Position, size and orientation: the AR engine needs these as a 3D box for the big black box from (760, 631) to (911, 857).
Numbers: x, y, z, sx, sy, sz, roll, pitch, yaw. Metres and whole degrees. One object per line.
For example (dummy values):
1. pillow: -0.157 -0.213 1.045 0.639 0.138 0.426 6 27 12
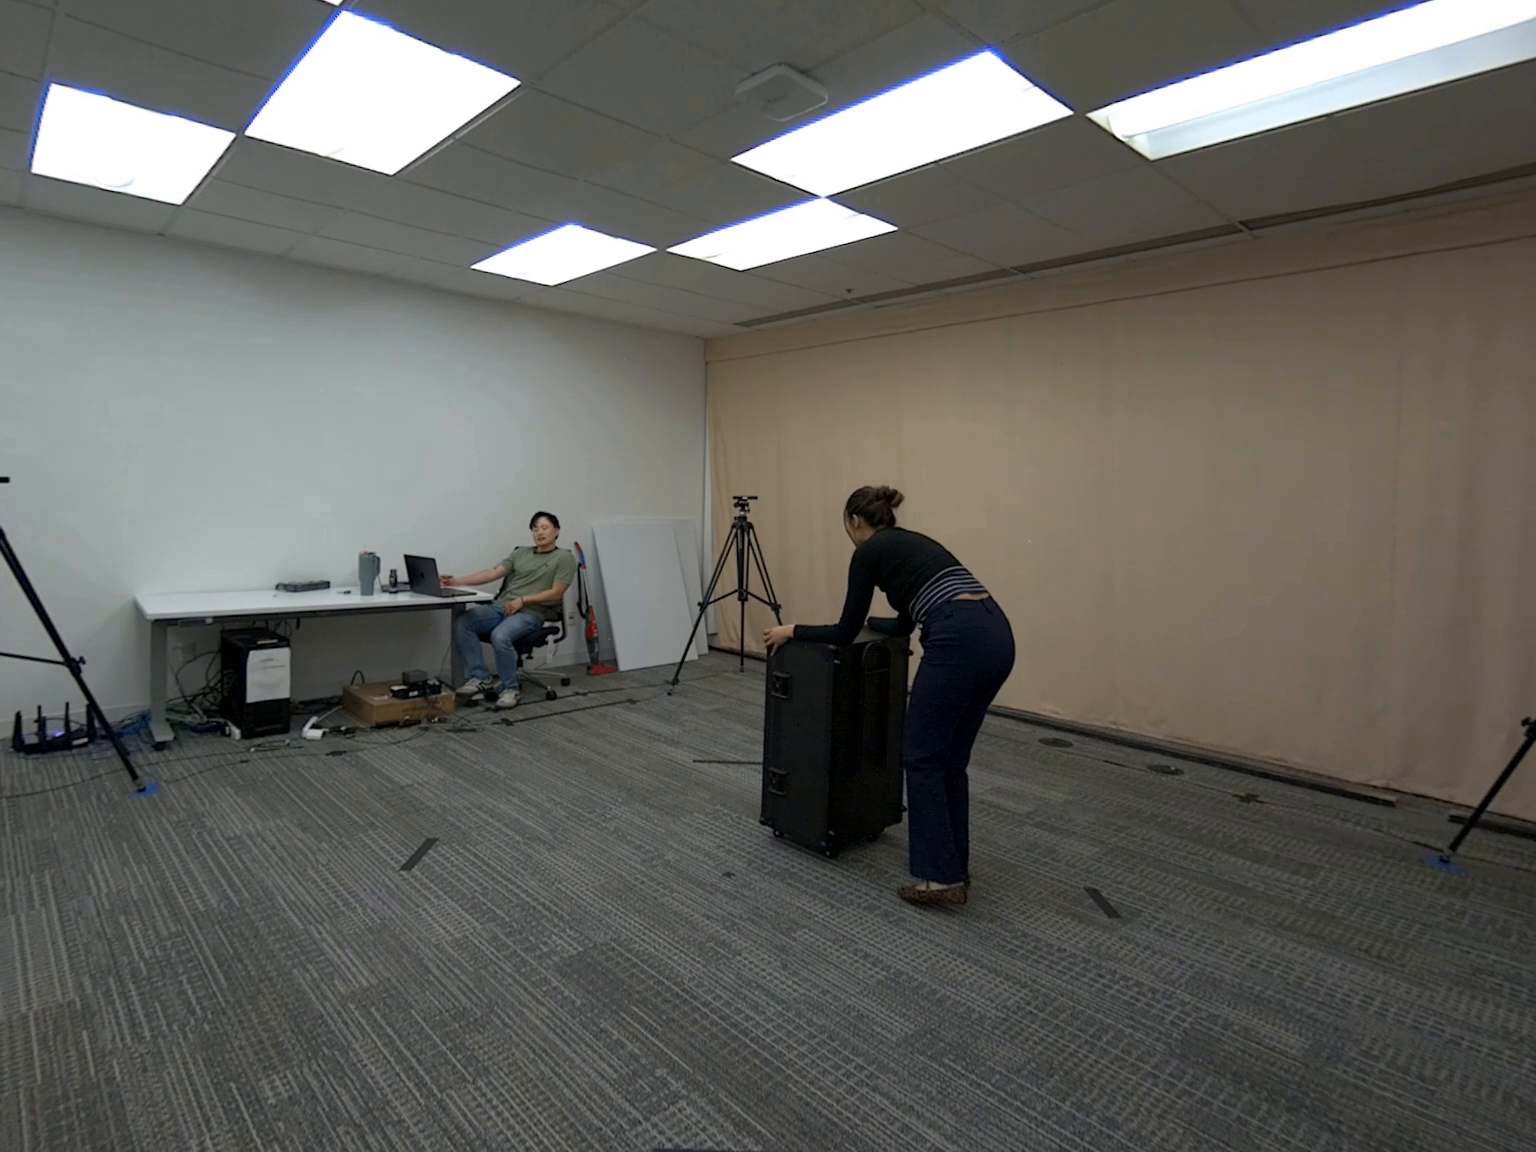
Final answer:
1. big black box: 0.279 0.660 3.427 0.509 0.859 0.407 -2 7 -45
